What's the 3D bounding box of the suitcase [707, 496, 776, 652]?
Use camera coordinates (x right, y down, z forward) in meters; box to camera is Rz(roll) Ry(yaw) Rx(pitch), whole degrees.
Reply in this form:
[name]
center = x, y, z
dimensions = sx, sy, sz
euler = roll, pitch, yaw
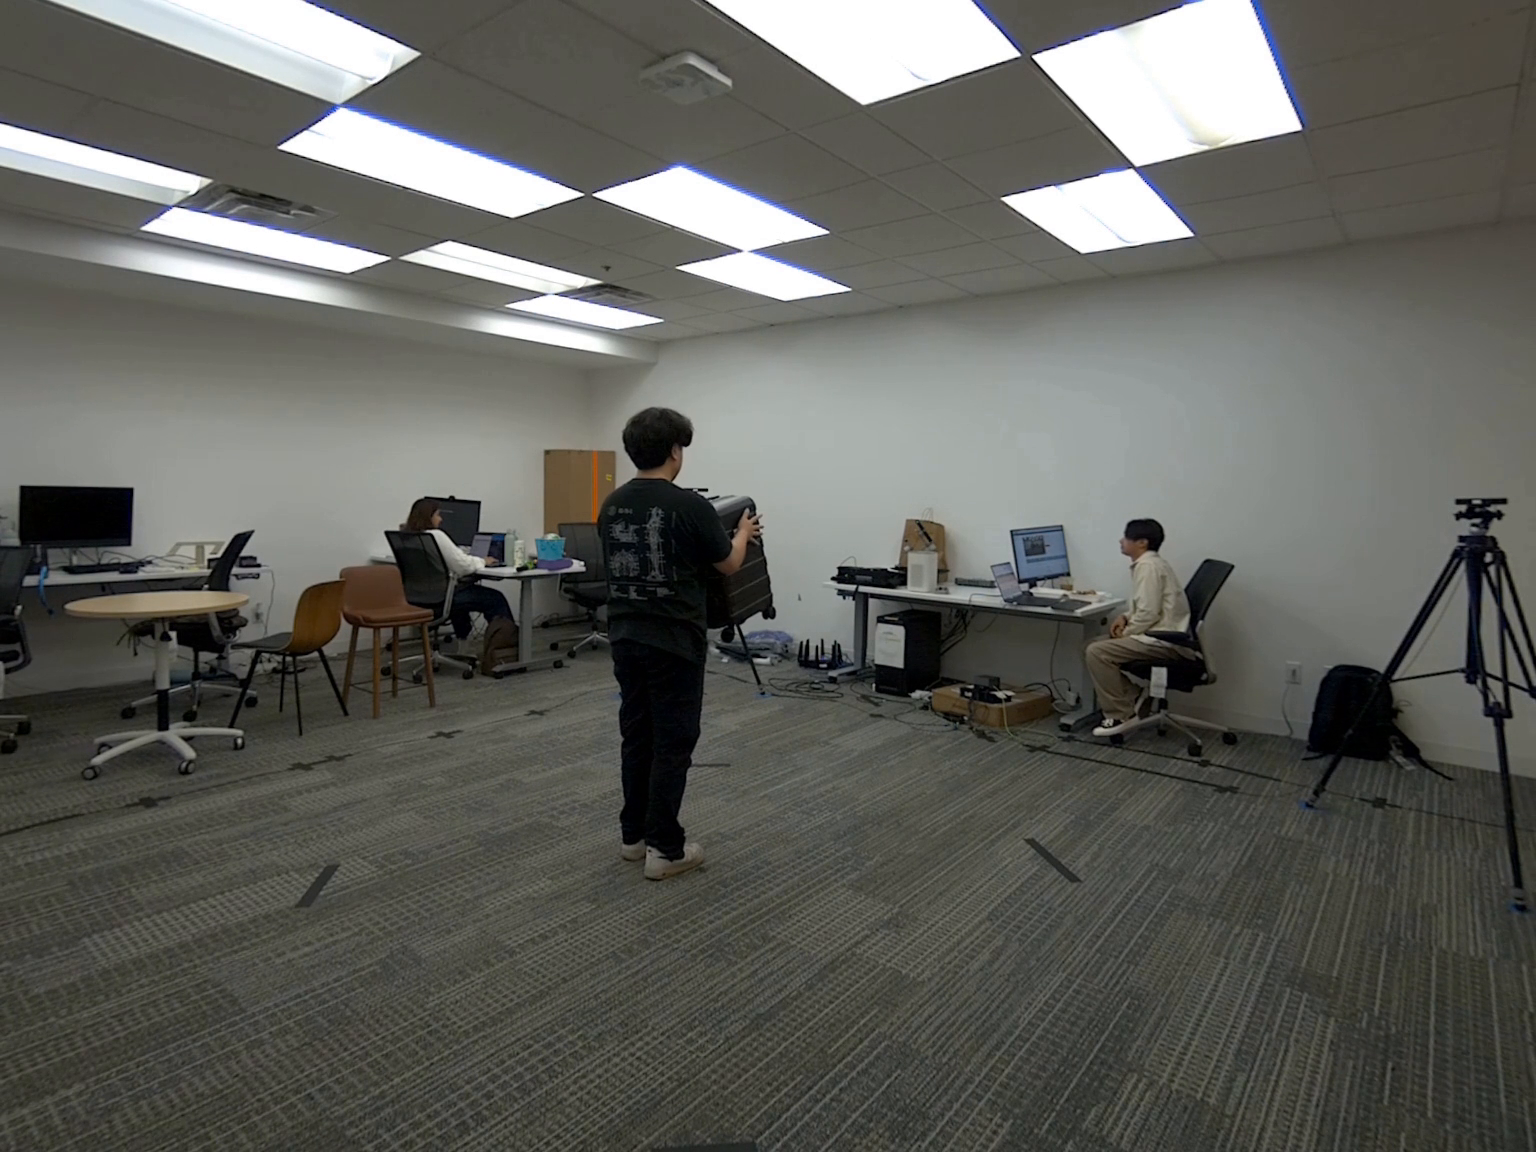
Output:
[suitcase]
center = -0.198, -0.045, 3.506
dimensions = 0.255, 0.544, 0.369
euler = -3, 12, 35
